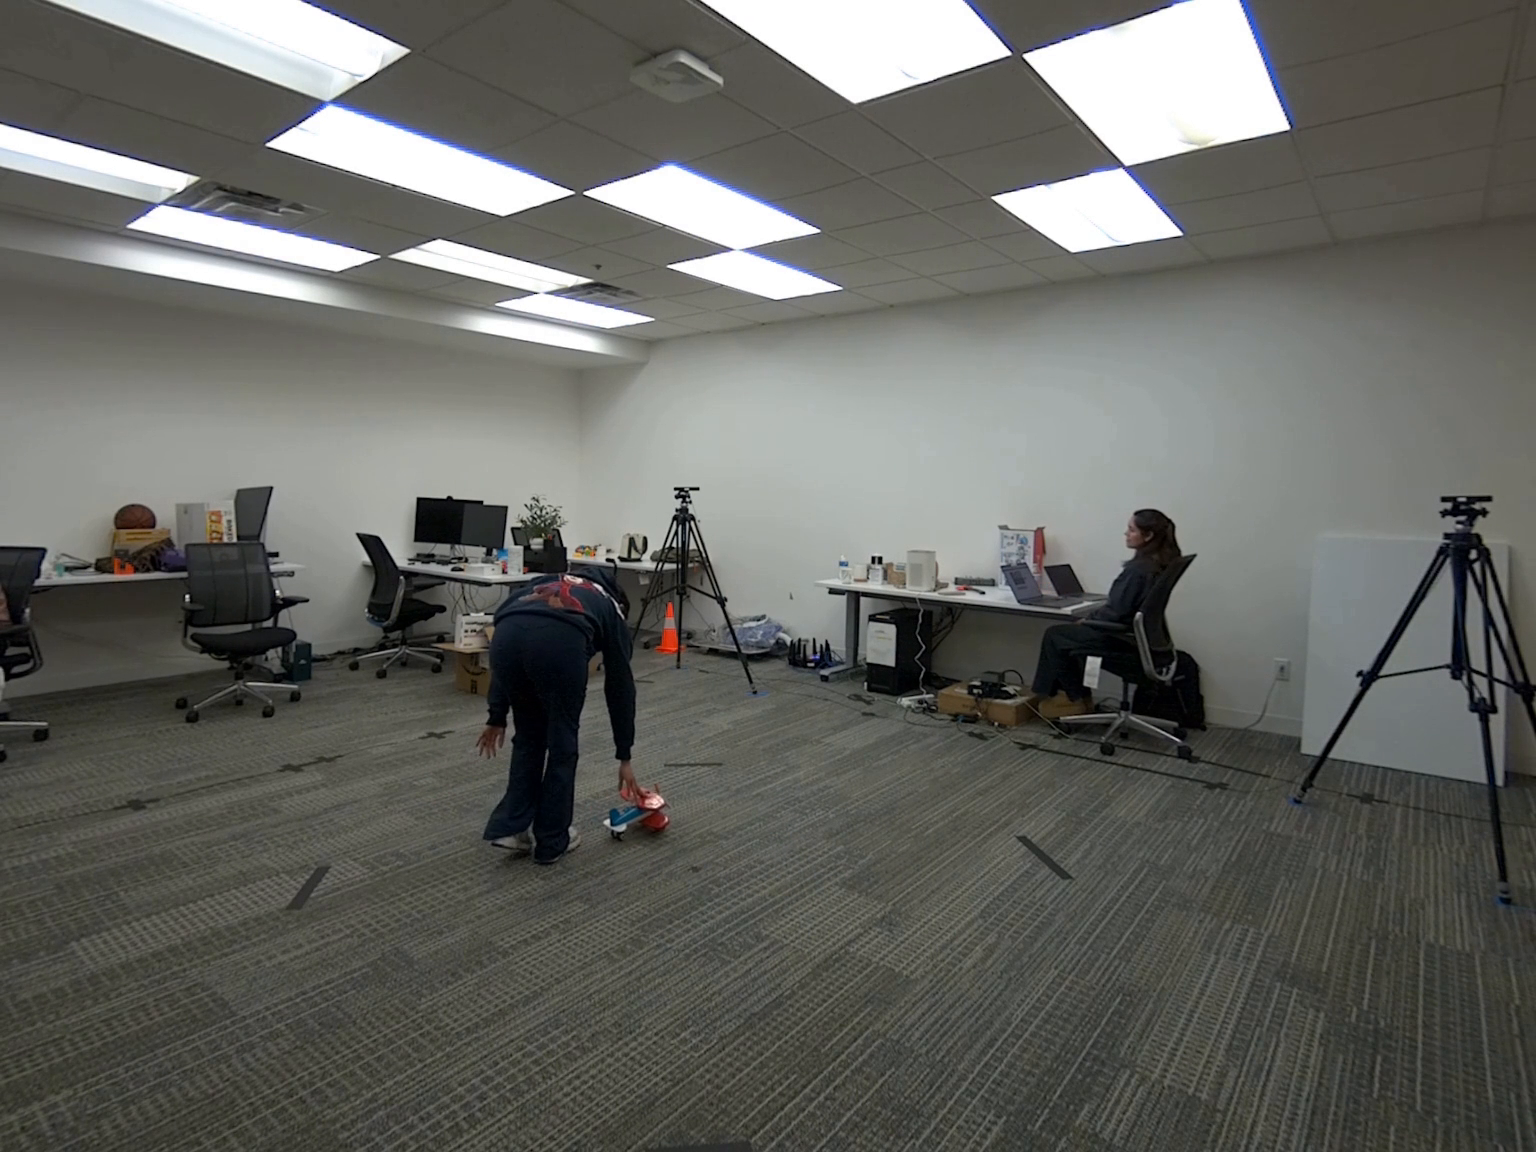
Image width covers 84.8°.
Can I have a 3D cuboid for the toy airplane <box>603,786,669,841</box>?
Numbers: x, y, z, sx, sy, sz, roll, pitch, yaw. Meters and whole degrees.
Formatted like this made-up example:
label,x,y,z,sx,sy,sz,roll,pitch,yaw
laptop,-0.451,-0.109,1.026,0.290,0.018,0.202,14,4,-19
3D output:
label,x,y,z,sx,sy,sz,roll,pitch,yaw
toy airplane,-0.526,0.961,3.411,0.256,0.156,0.255,3,3,18
